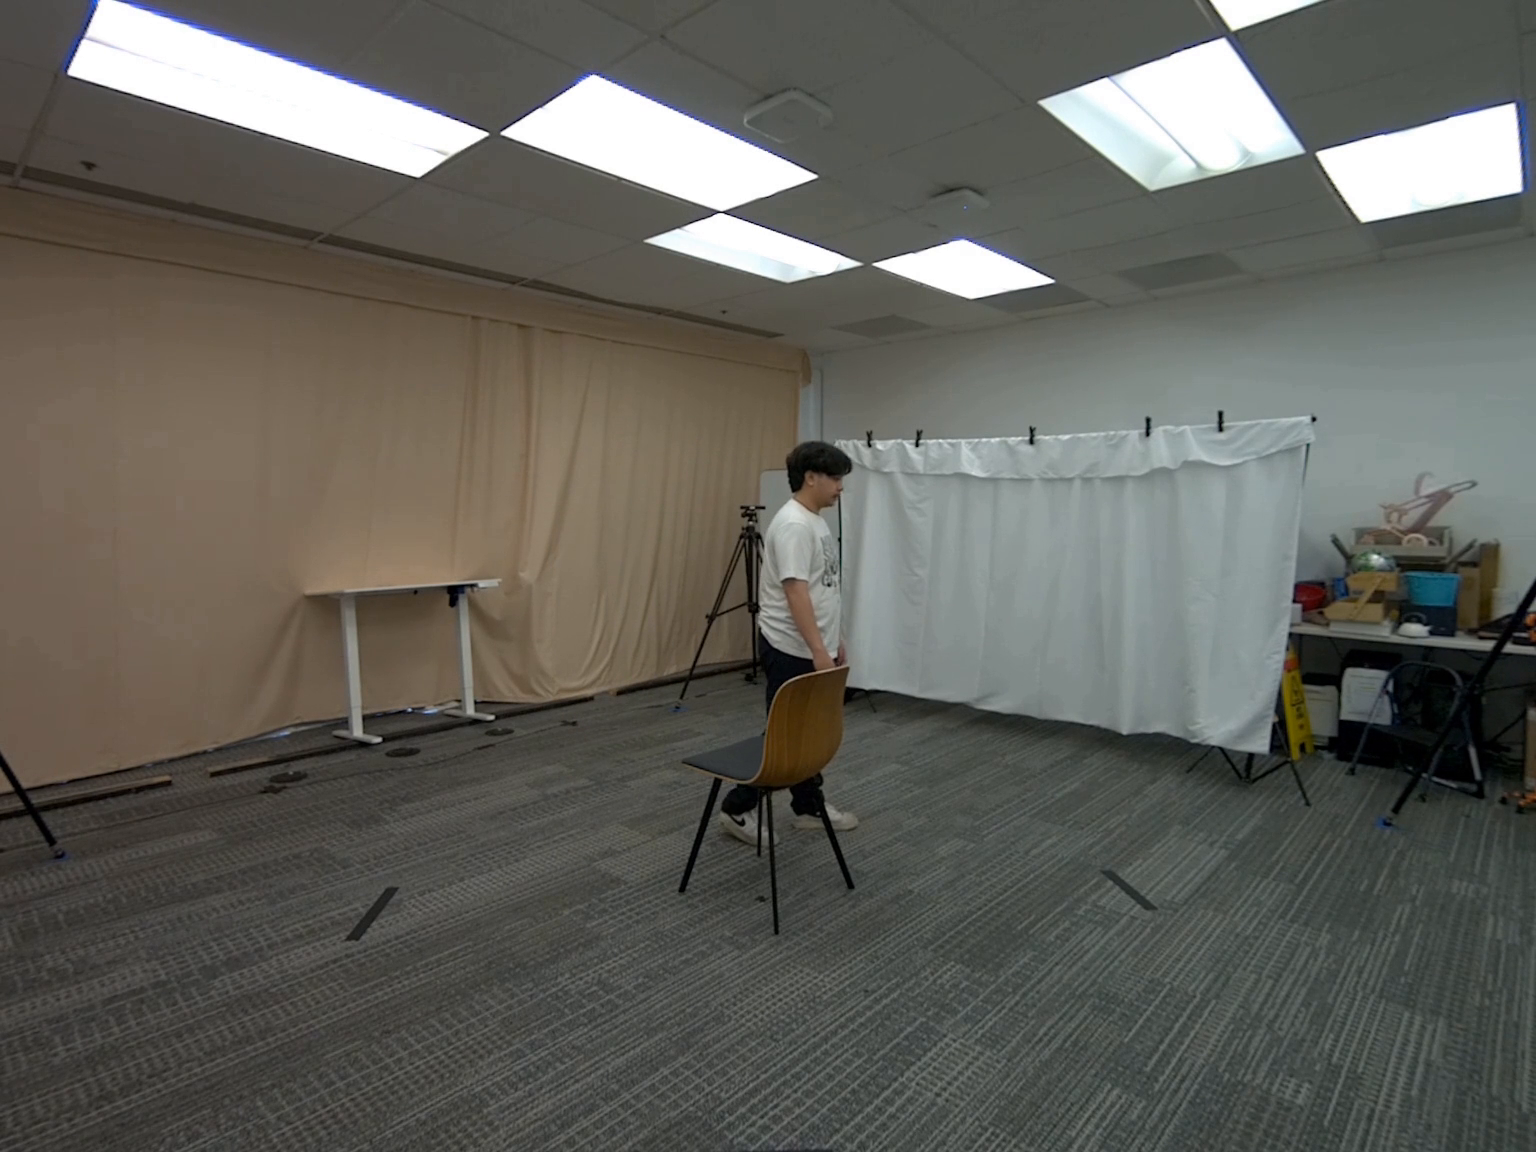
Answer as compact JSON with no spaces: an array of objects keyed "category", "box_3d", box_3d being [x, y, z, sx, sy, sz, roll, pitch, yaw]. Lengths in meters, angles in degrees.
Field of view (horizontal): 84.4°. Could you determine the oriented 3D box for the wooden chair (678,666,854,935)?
[{"category":"wooden chair","box_3d":[-0.013,0.711,3.024,0.541,0.874,0.463,8,8,41]}]
